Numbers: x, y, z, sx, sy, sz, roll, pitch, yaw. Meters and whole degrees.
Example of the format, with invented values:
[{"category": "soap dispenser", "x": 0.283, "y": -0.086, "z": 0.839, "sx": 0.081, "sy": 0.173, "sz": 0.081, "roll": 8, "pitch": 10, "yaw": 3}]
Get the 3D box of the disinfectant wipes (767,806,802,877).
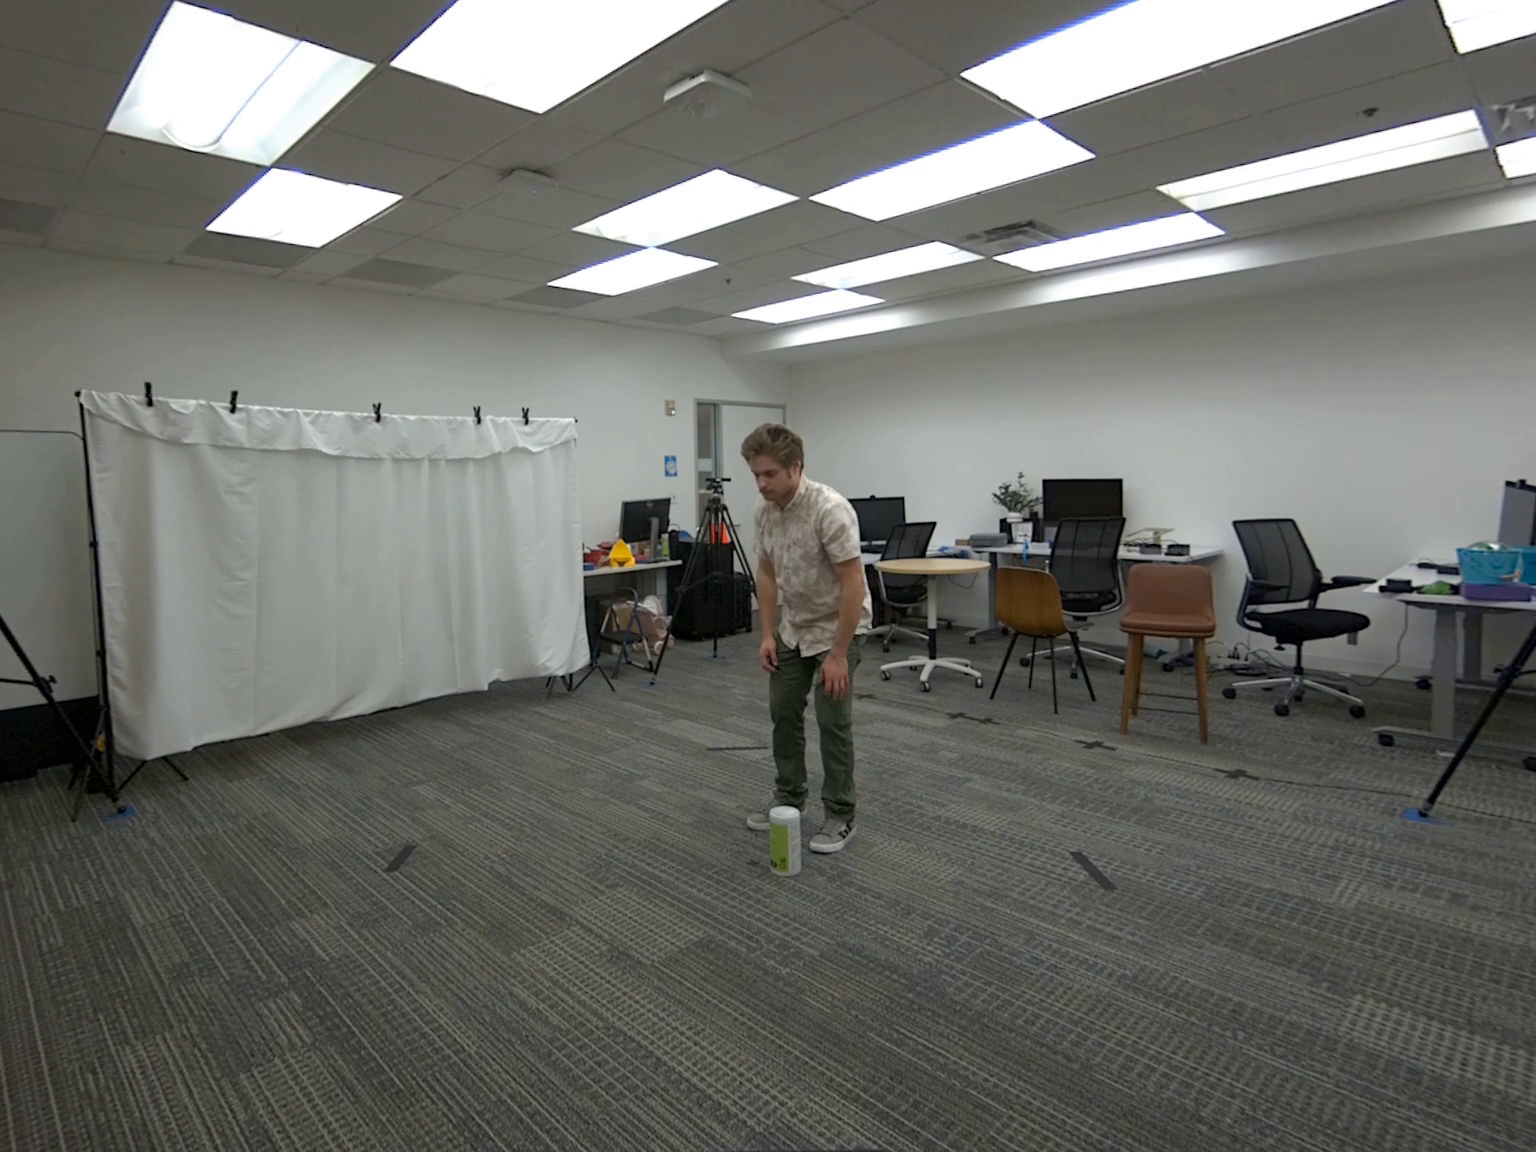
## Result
[{"category": "disinfectant wipes", "x": 0.062, "y": 0.946, "z": 3.037, "sx": 0.118, "sy": 0.216, "sz": 0.118, "roll": -2, "pitch": 7, "yaw": -1}]
